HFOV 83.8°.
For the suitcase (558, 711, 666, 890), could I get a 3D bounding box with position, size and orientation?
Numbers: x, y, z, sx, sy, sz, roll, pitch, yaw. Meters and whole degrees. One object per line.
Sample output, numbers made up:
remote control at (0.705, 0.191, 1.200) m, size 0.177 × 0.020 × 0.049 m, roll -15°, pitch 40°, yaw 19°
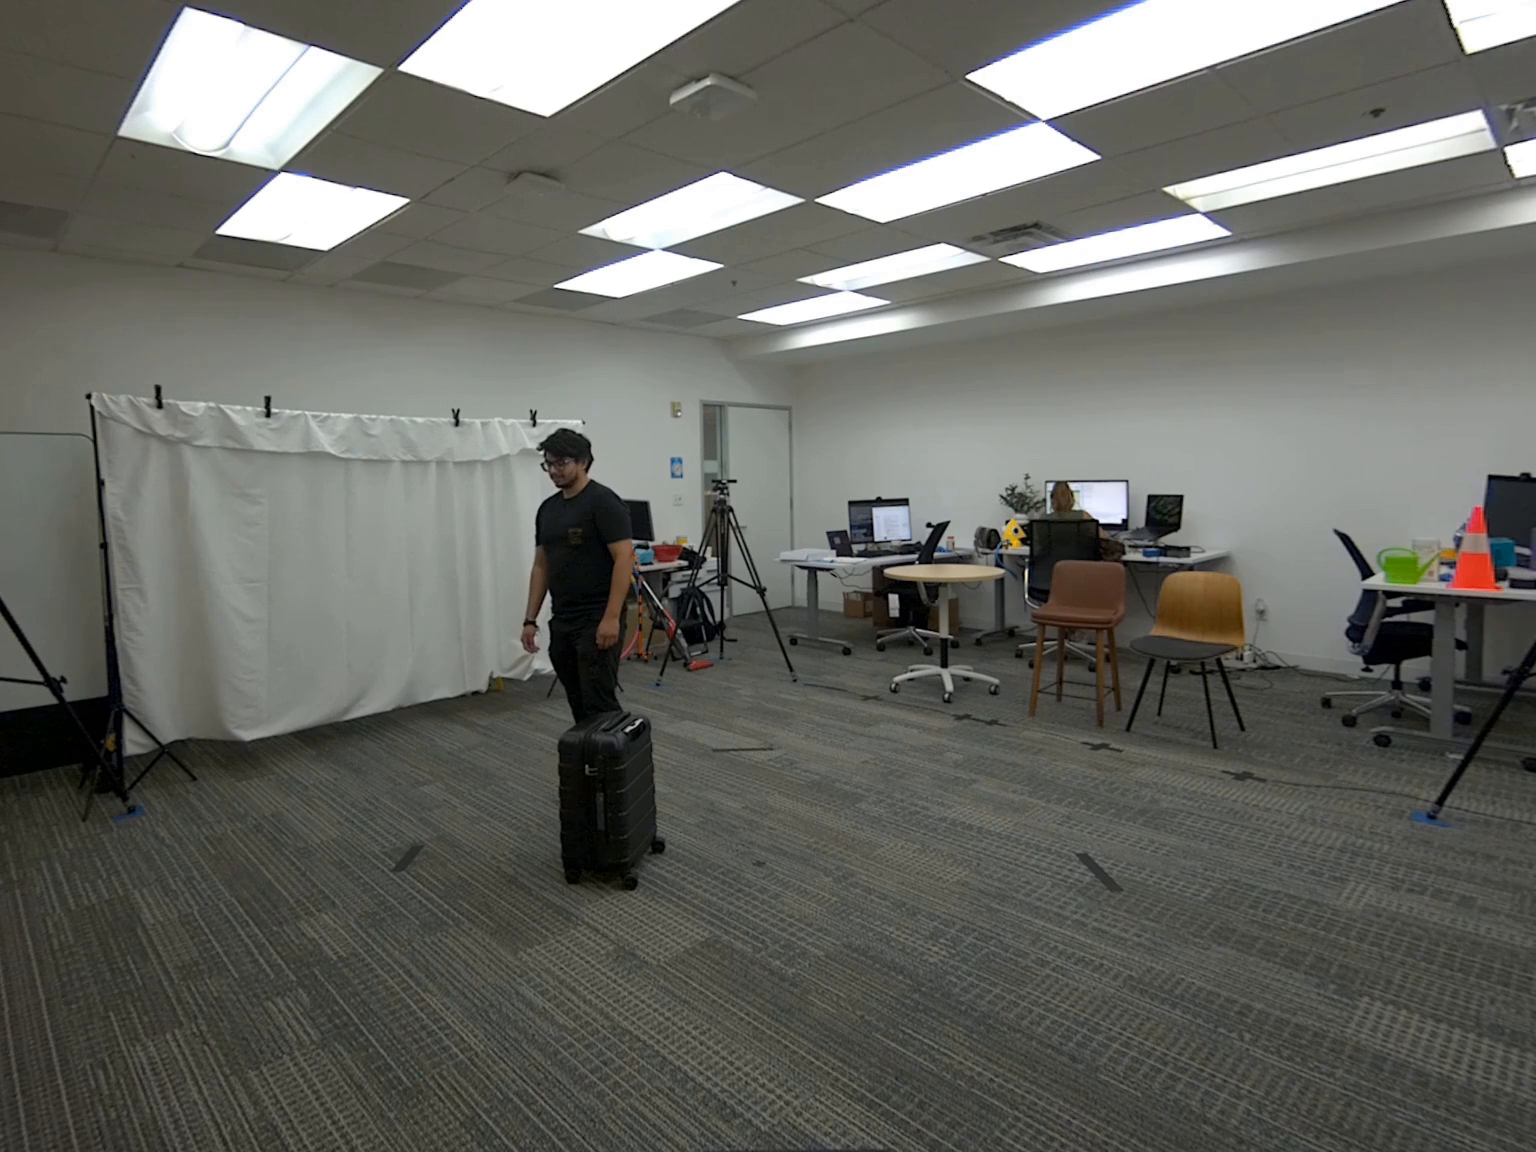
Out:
suitcase at (-0.571, 0.784, 3.087) m, size 0.252 × 0.547 × 0.371 m, roll -2°, pitch 4°, yaw 14°
